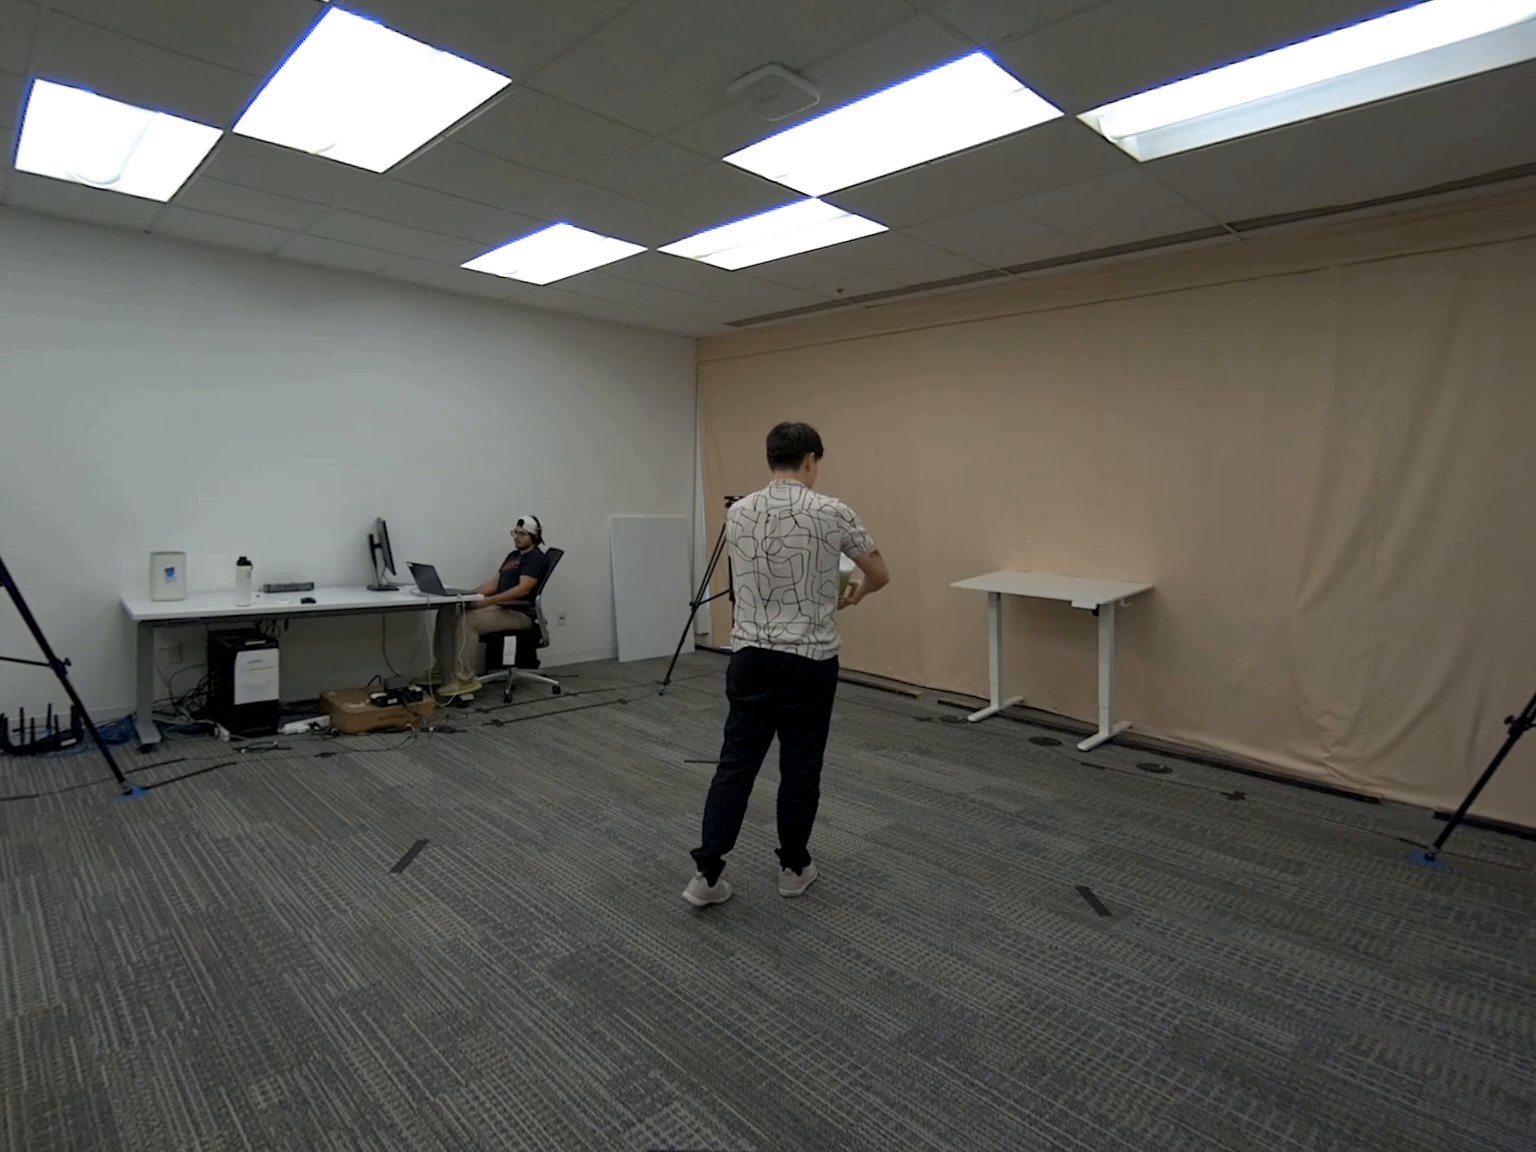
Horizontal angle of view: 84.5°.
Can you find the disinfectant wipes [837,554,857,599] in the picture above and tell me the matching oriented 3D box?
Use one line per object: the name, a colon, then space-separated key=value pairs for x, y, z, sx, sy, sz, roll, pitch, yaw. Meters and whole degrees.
disinfectant wipes: x=0.241 y=0.011 z=3.286 sx=0.117 sy=0.214 sz=0.120 roll=9 pitch=43 yaw=-10
